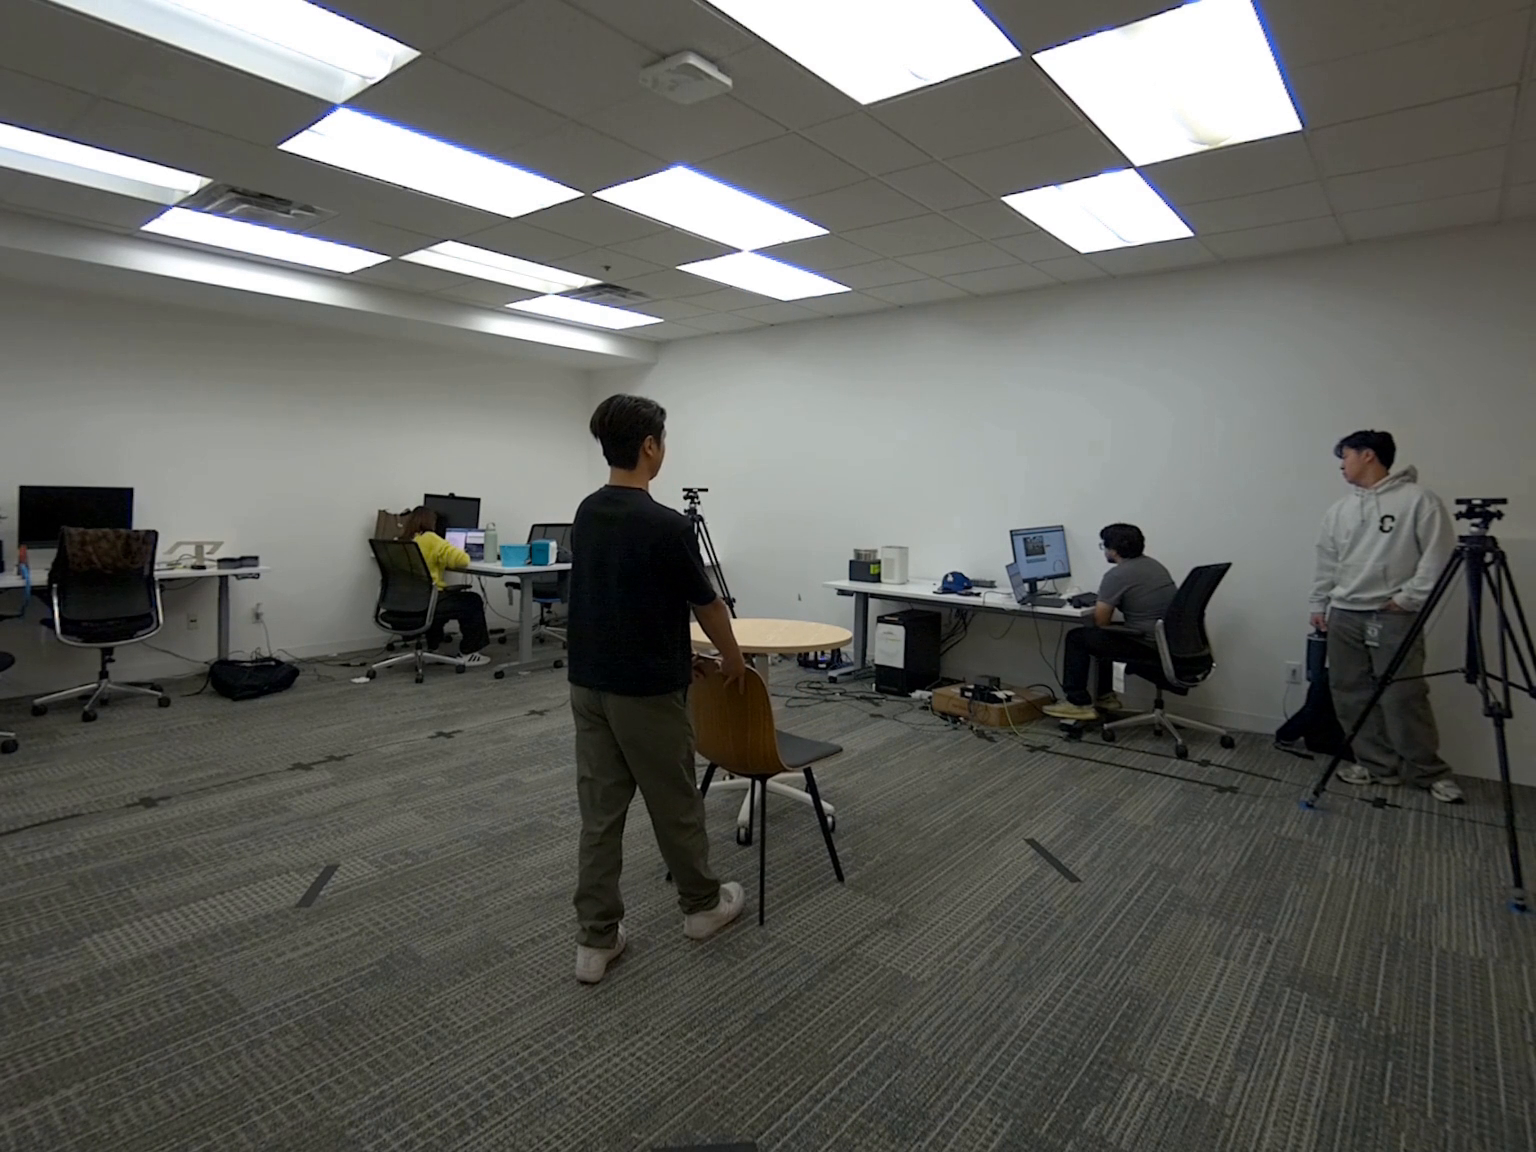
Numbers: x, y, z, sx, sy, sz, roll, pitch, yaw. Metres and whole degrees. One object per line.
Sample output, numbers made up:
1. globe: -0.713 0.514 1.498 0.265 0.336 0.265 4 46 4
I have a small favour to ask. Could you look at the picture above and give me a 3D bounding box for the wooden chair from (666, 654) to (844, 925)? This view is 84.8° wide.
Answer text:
1. wooden chair: -0.040 0.652 3.002 0.494 0.871 0.509 4 9 41
